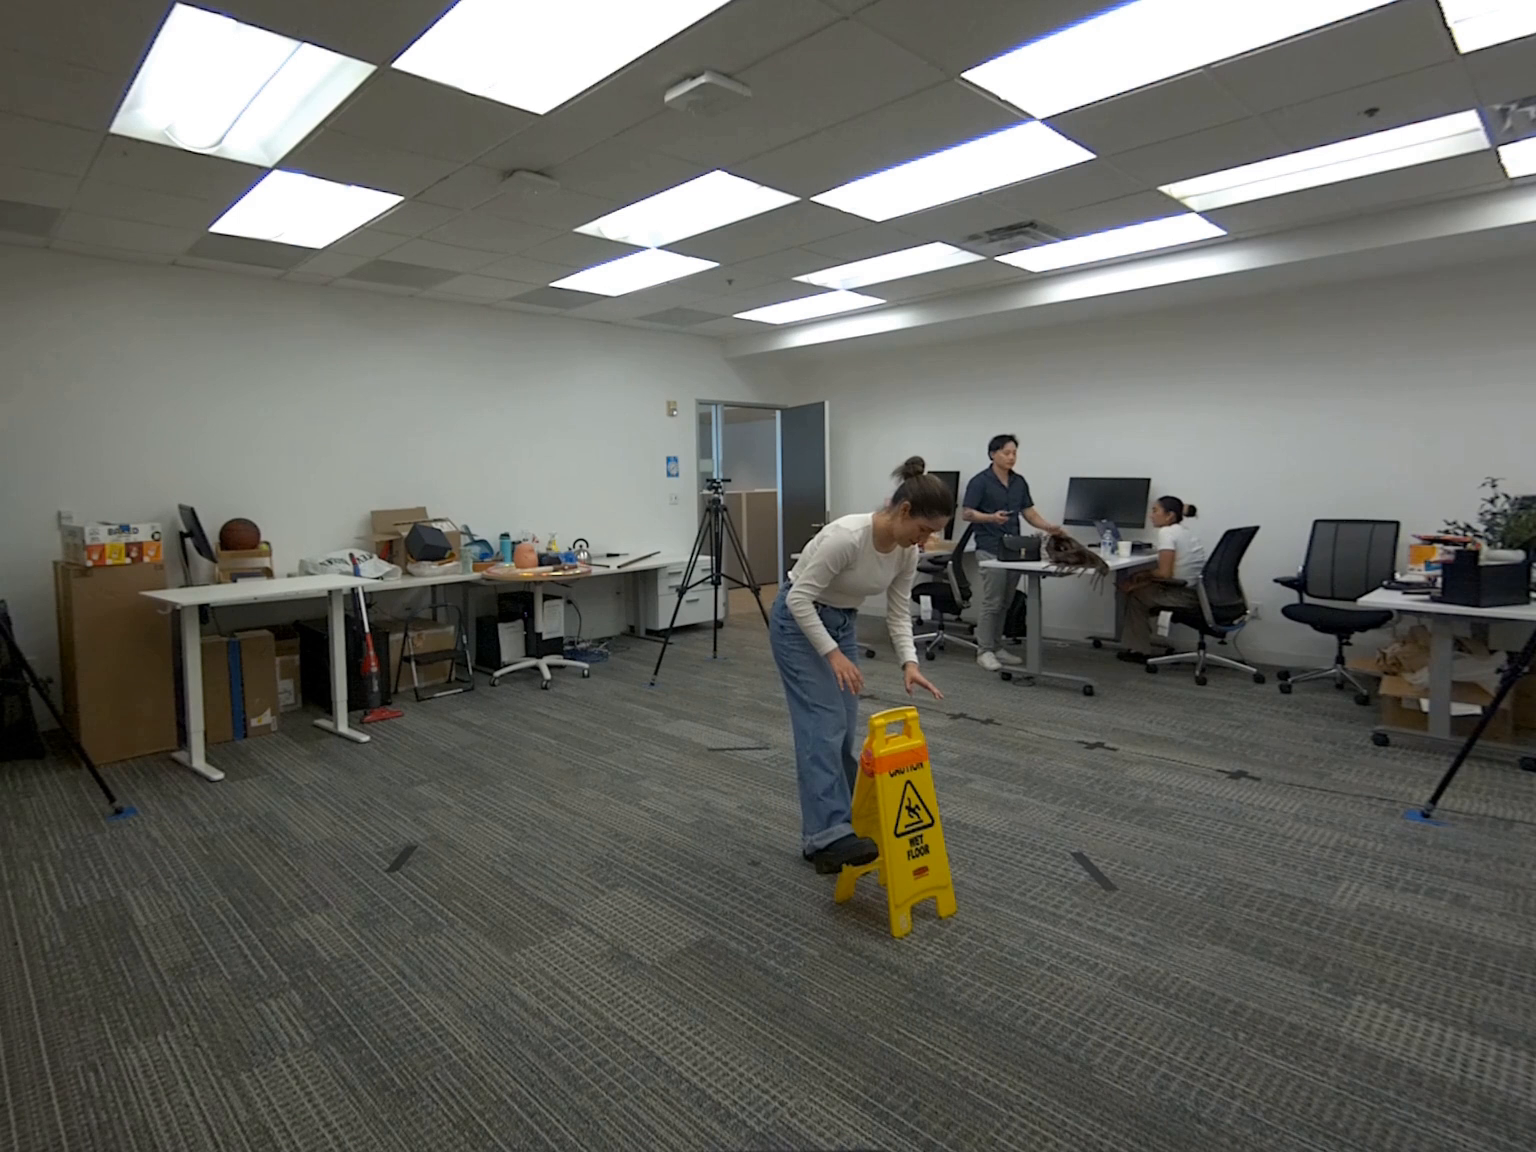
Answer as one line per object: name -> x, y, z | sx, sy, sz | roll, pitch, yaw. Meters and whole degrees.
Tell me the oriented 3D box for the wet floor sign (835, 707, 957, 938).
wet floor sign -> 0.407, 0.754, 2.755 | 0.275, 0.644, 0.298 | -3, 5, -35
